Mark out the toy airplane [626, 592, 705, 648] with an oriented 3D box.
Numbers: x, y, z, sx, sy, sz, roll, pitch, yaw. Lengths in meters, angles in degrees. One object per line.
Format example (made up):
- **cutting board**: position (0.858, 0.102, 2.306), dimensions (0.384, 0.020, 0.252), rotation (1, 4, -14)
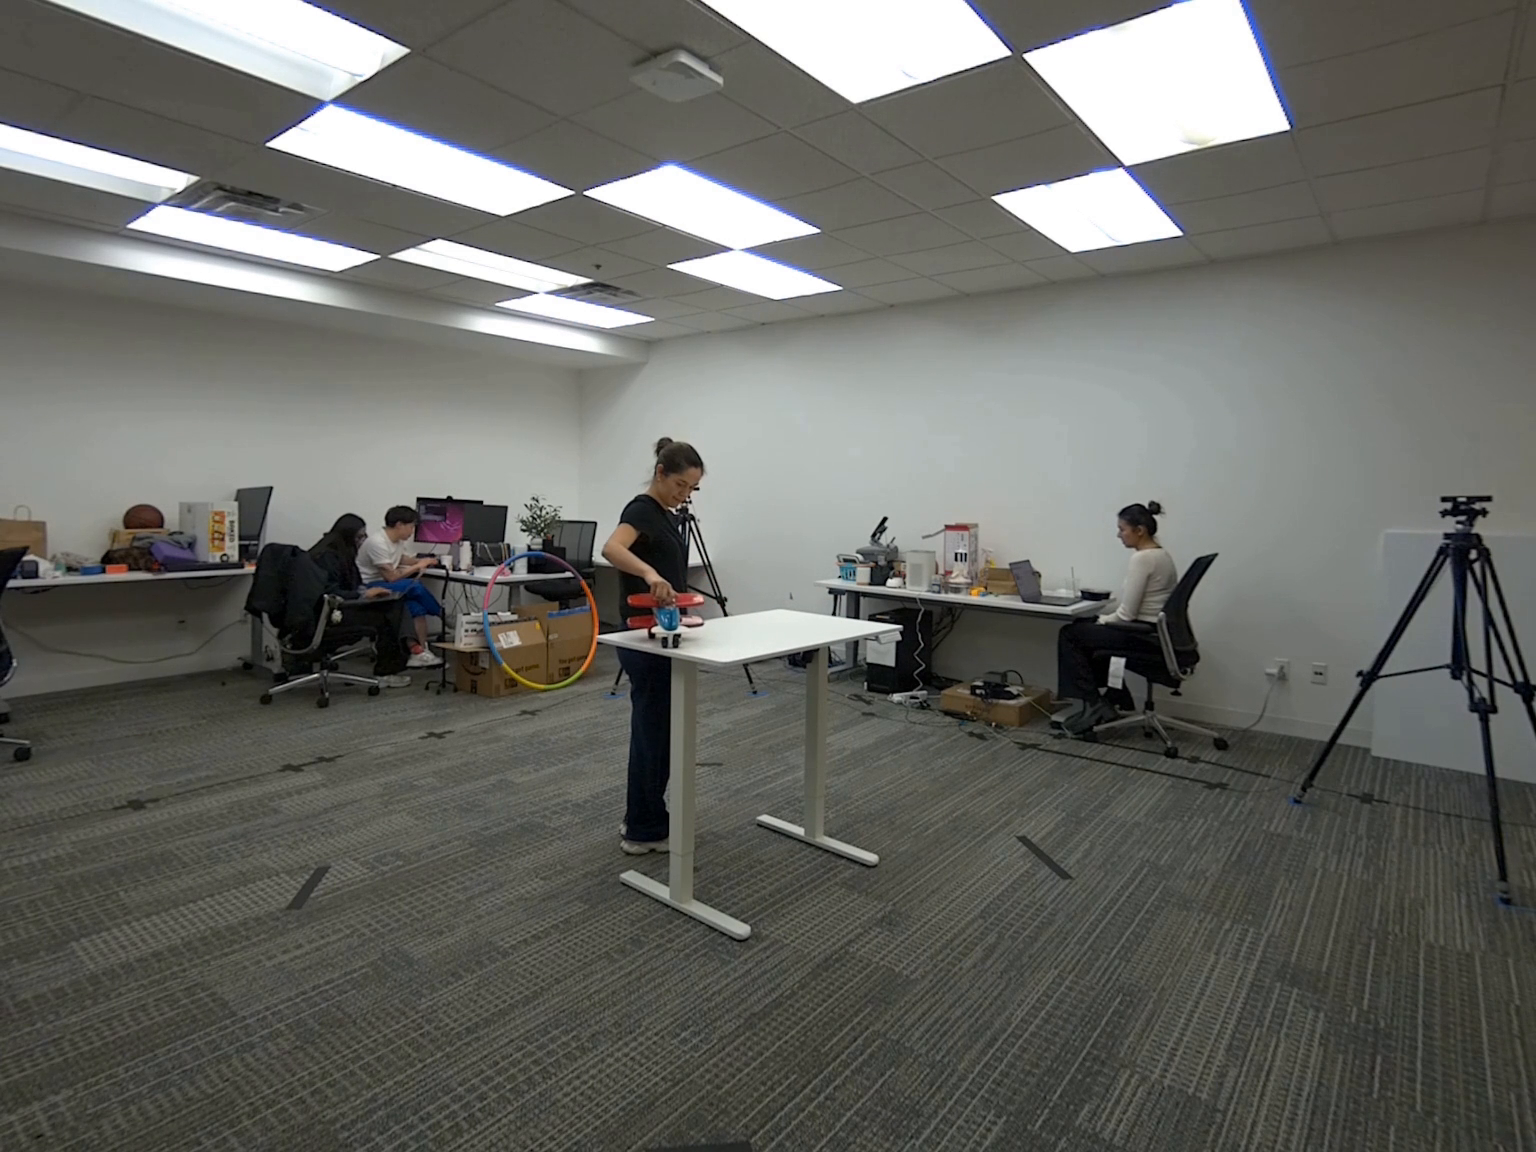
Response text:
- **toy airplane**: position (-0.308, 0.135, 2.807), dimensions (0.244, 0.156, 0.268), rotation (-3, 6, -38)
